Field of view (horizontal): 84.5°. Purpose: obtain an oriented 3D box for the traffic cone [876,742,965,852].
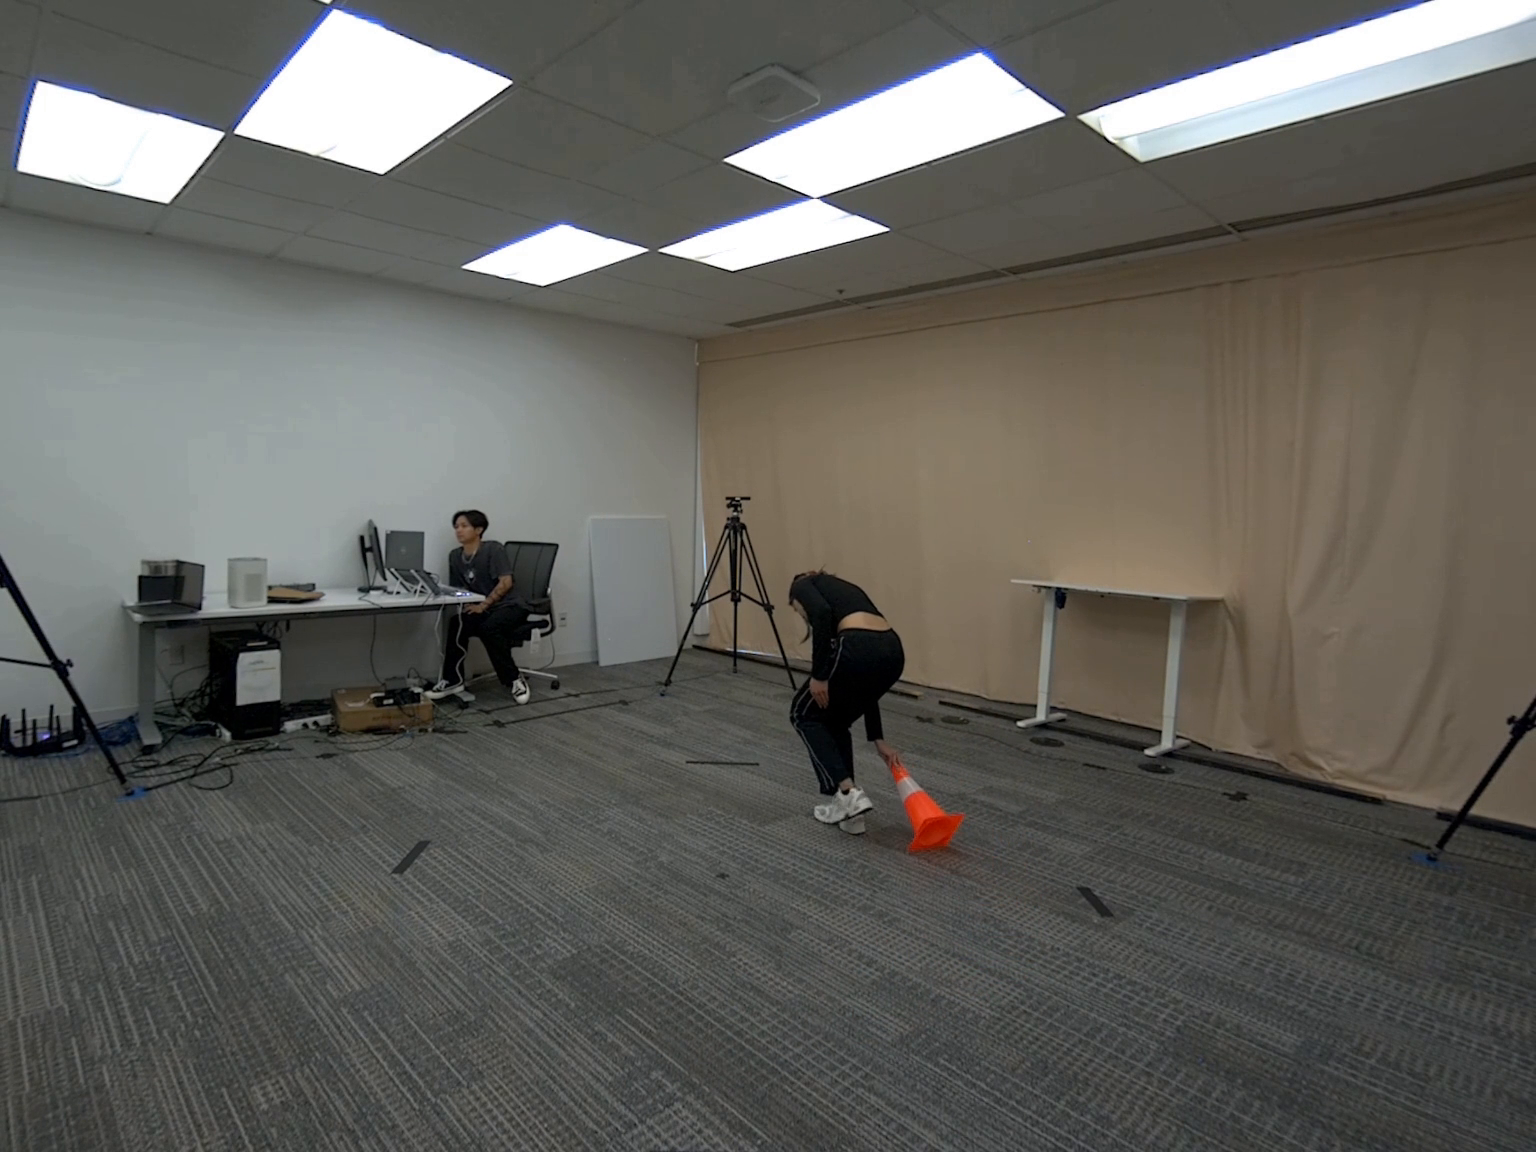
[{"bbox_3d":[0.589,0.908,3.496,0.201,0.201,0.395,5,33,-26],"label":"traffic cone"}]
